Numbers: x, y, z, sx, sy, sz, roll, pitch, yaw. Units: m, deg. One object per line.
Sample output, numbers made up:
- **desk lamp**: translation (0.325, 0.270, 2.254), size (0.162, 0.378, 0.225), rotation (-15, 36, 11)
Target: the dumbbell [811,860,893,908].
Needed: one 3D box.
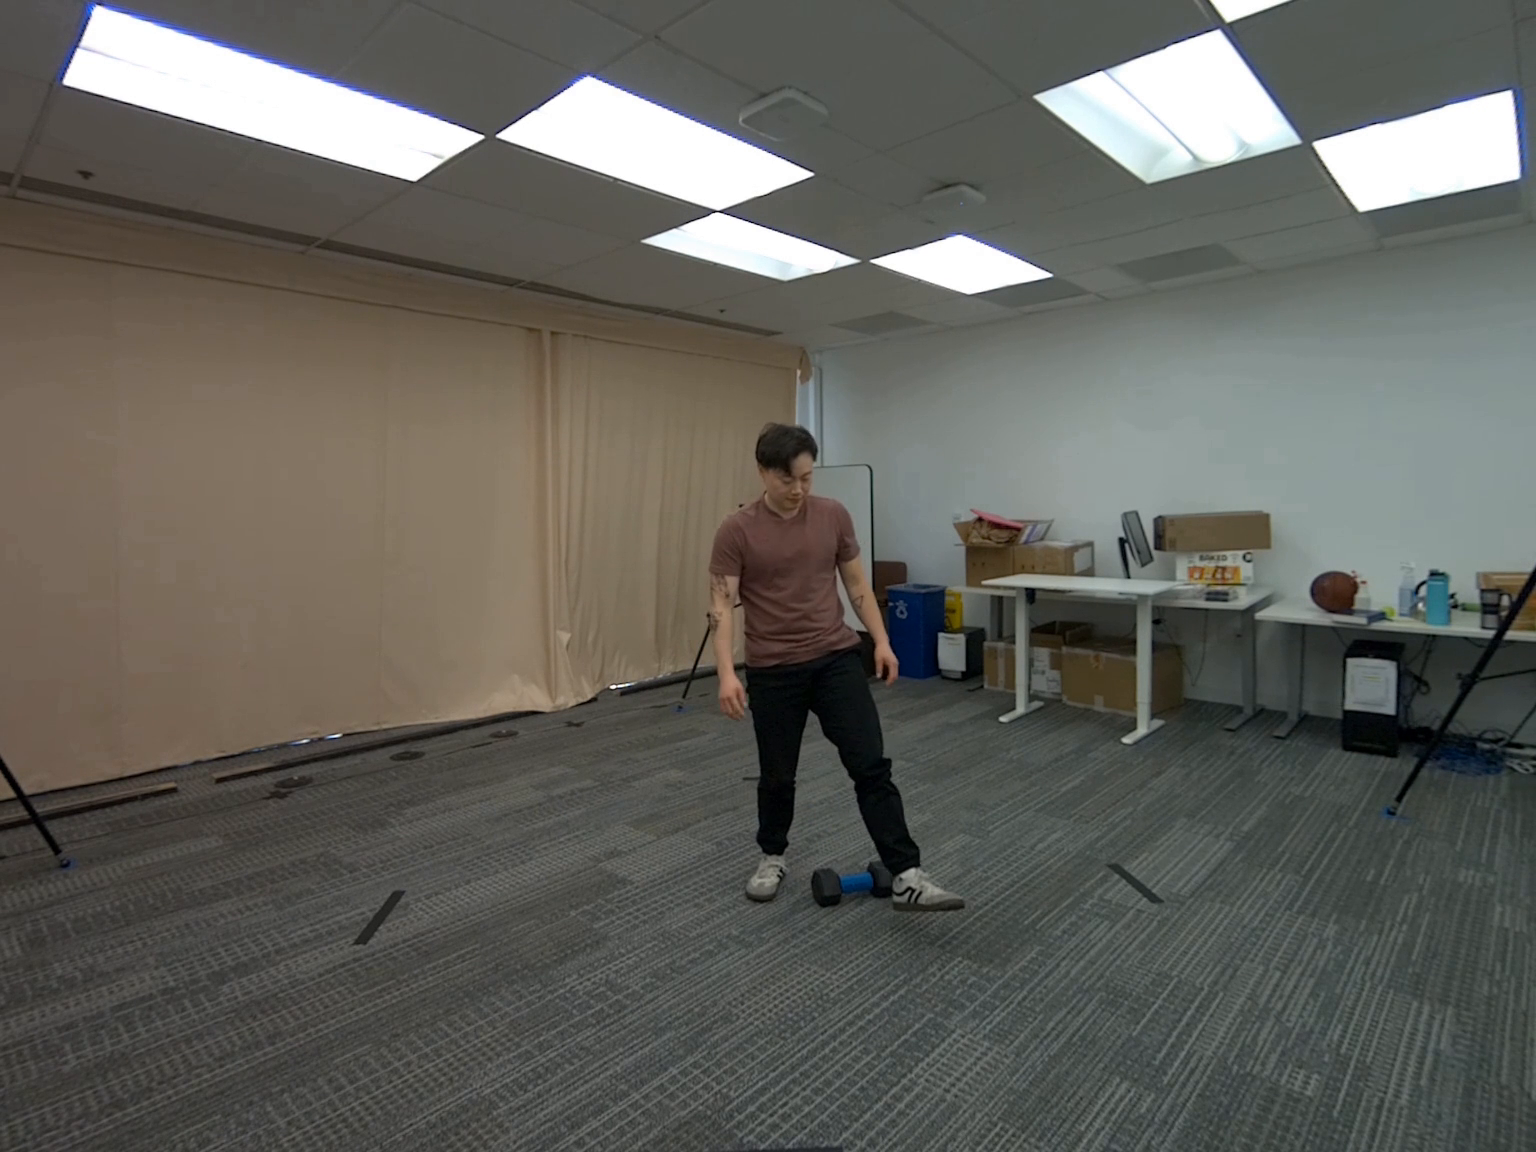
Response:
- **dumbbell**: translation (0.307, 1.085, 2.964), size (0.289, 0.108, 0.125), rotation (-2, 5, -15)
